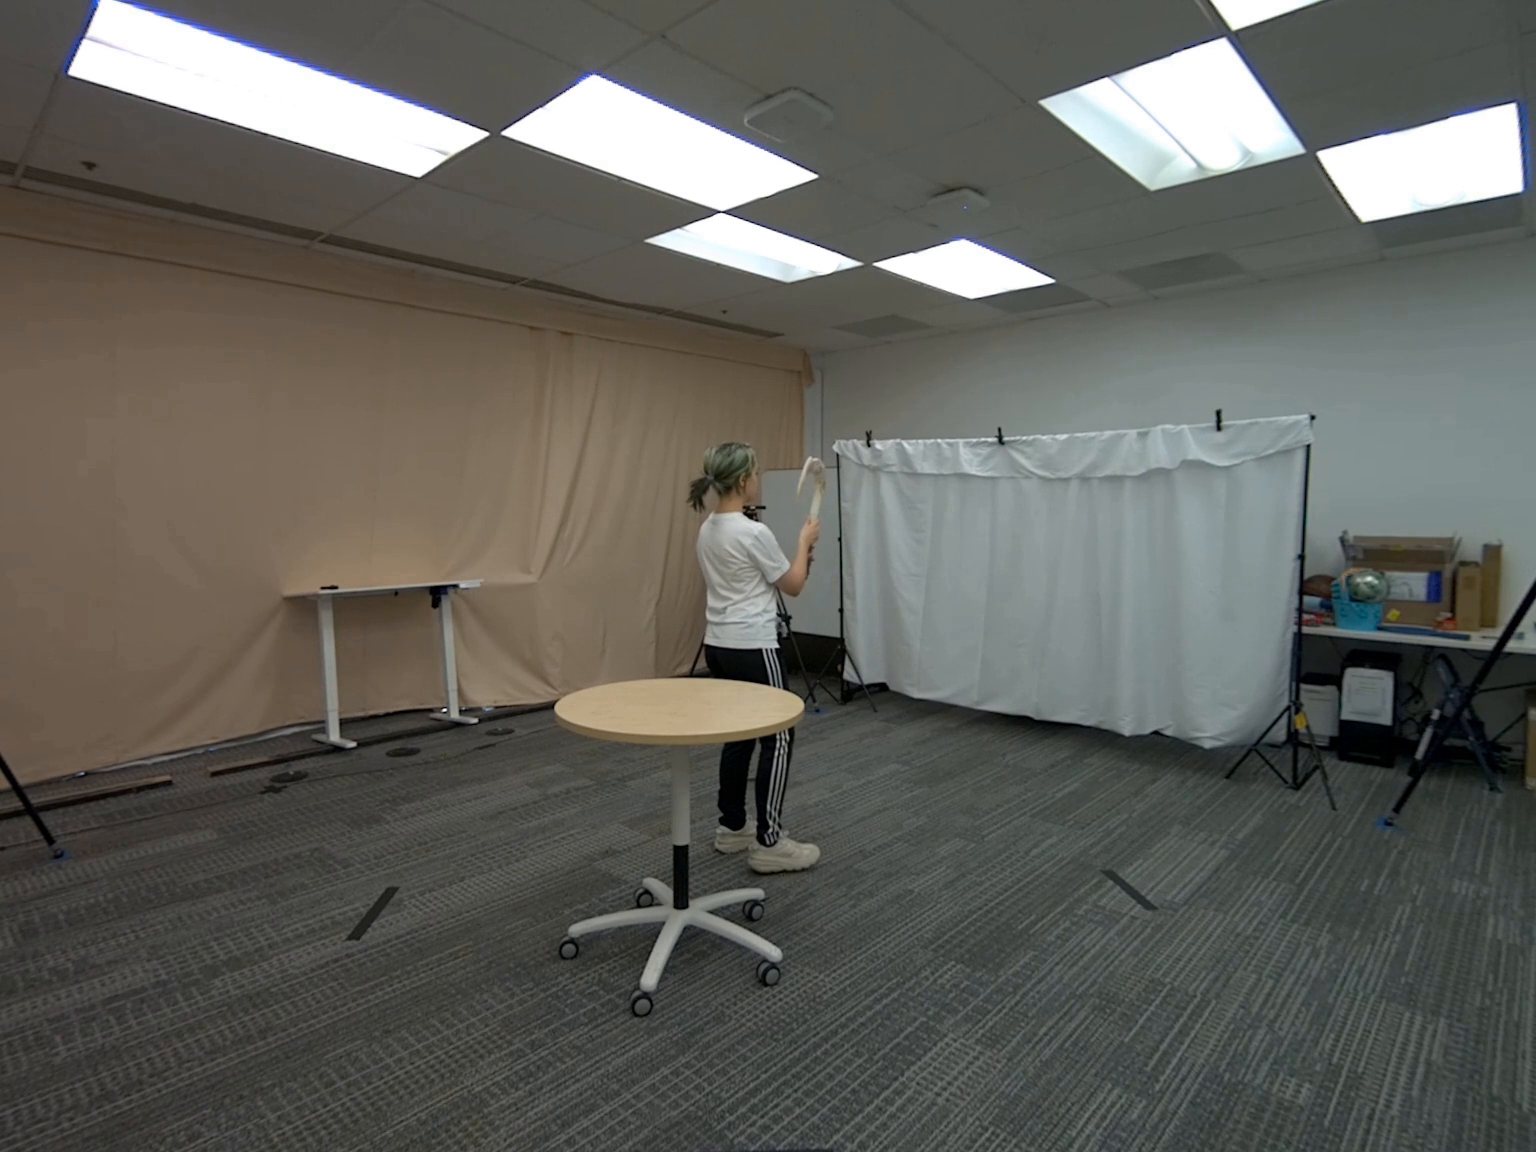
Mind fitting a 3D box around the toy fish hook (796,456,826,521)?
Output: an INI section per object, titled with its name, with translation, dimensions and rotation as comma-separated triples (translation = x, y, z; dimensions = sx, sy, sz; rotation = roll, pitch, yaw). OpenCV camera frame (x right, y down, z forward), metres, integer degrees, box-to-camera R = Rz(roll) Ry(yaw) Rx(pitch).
[toy fish hook]
translation = 0.157, -0.237, 3.477
dimensions = 0.050, 0.505, 0.218
rotation = 11, 6, 33
